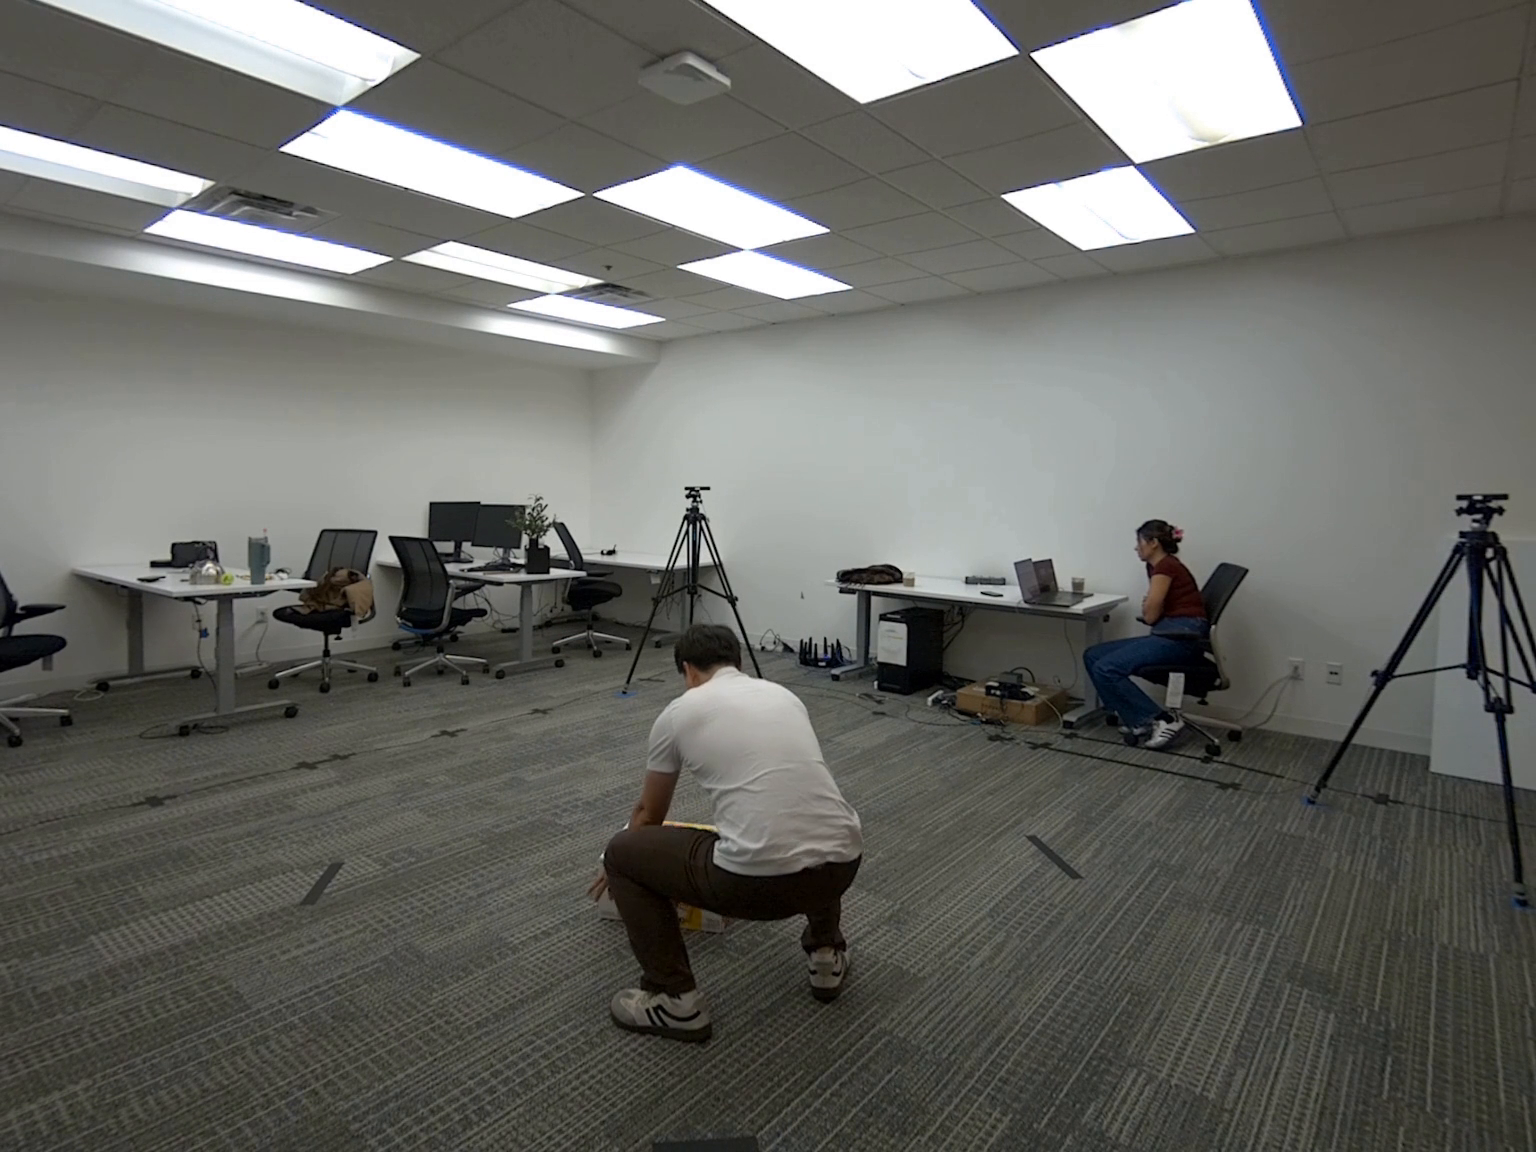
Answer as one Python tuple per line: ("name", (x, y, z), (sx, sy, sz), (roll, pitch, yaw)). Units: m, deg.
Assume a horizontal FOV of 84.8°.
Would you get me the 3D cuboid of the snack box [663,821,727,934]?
("snack box", (-0.321, 0.982, 2.842), (0.410, 0.205, 0.337), (2, 5, 10))
